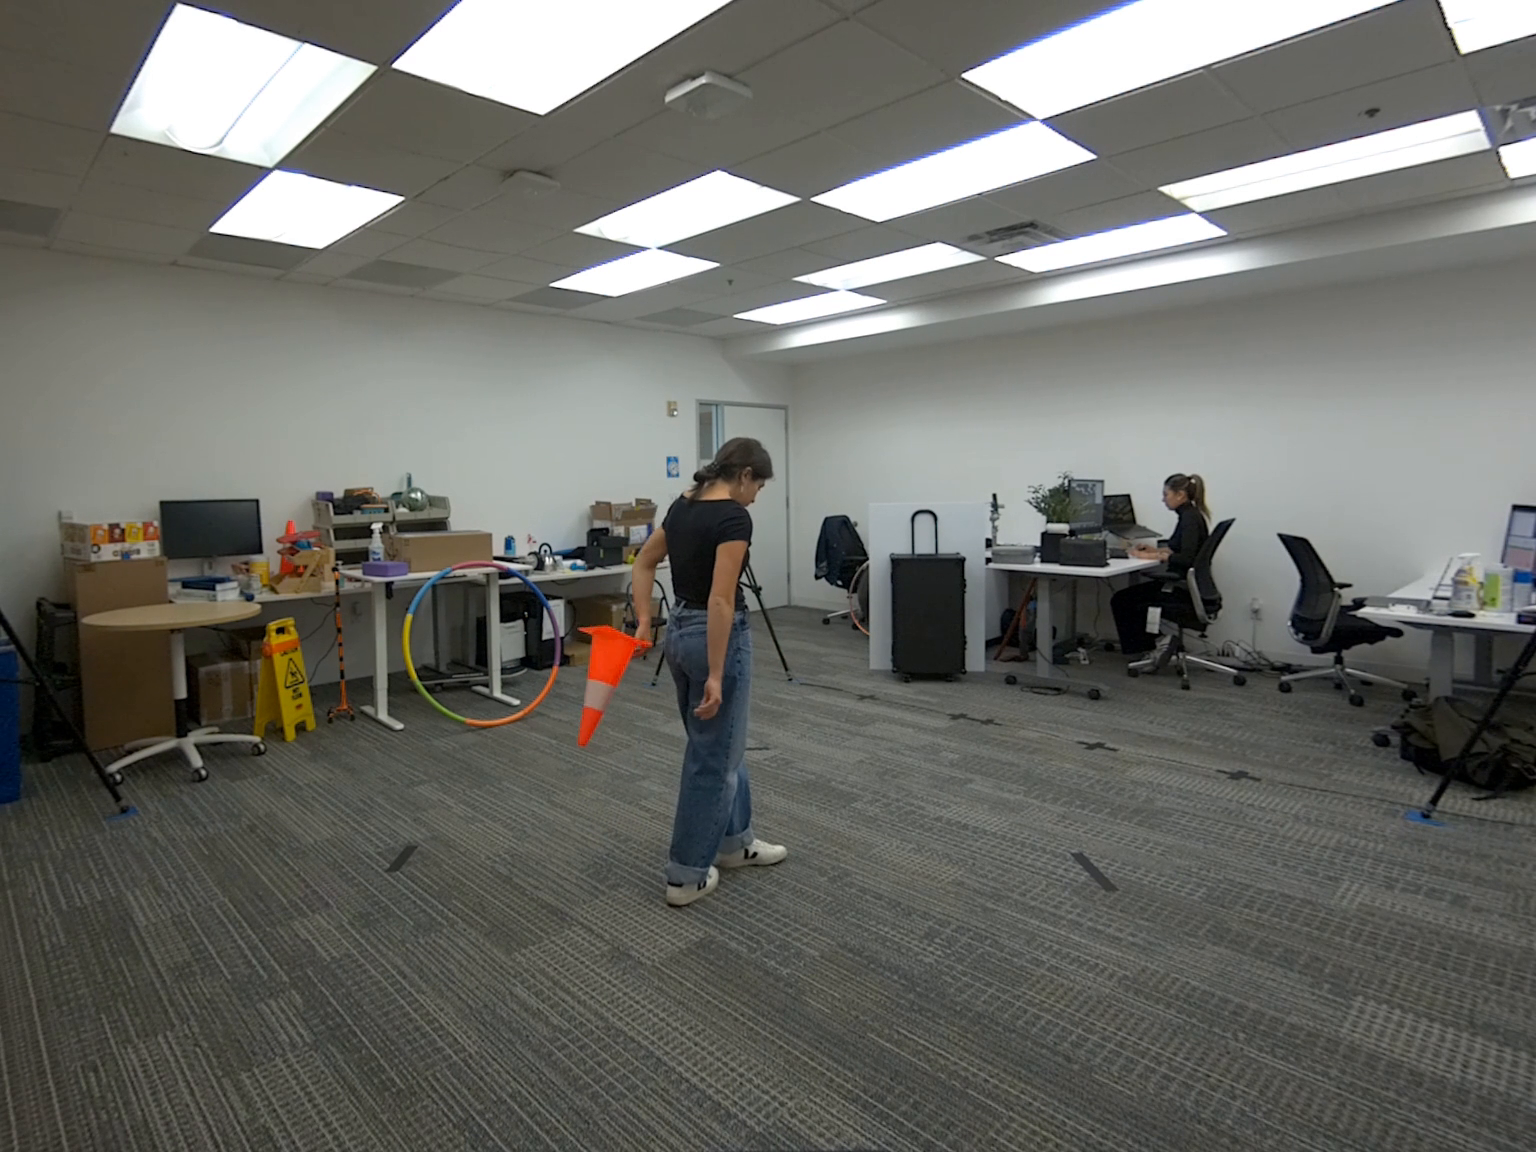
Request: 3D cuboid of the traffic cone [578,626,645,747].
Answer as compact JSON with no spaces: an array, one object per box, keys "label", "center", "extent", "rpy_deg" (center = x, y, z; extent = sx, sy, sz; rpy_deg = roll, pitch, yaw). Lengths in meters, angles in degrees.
[{"label":"traffic cone","center":[-0.536,0.390,2.900],"extent":[0.196,0.388,0.209],"rpy_deg":[27,-23,-33]}]
